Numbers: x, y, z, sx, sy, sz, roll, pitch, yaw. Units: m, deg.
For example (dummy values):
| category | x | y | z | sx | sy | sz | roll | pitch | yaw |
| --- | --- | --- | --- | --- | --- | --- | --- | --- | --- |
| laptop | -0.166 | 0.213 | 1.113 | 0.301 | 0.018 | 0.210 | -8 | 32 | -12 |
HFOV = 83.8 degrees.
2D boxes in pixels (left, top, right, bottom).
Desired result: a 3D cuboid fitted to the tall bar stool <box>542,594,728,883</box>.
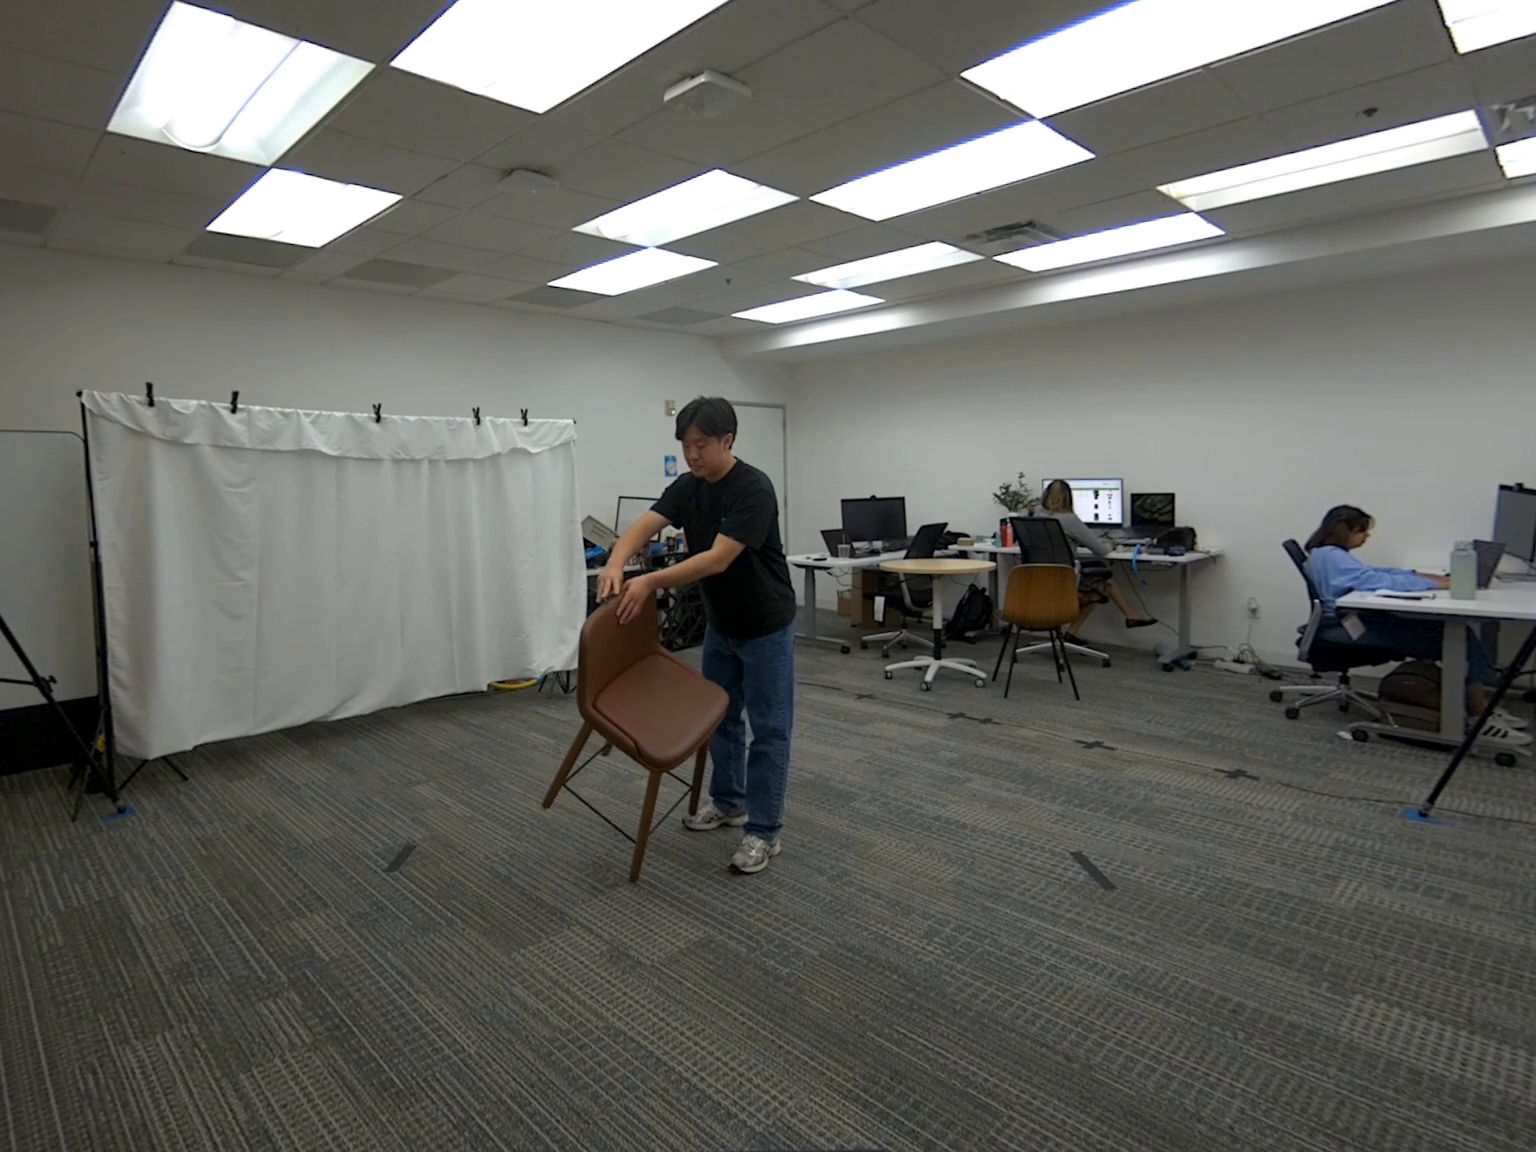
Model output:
| category | x | y | z | sx | sy | sz | roll | pitch | yaw |
| --- | --- | --- | --- | --- | --- | --- | --- | --- | --- |
| tall bar stool | -0.438 | 0.539 | 2.972 | 0.479 | 0.875 | 0.452 | 28 | 33 | 19 |
